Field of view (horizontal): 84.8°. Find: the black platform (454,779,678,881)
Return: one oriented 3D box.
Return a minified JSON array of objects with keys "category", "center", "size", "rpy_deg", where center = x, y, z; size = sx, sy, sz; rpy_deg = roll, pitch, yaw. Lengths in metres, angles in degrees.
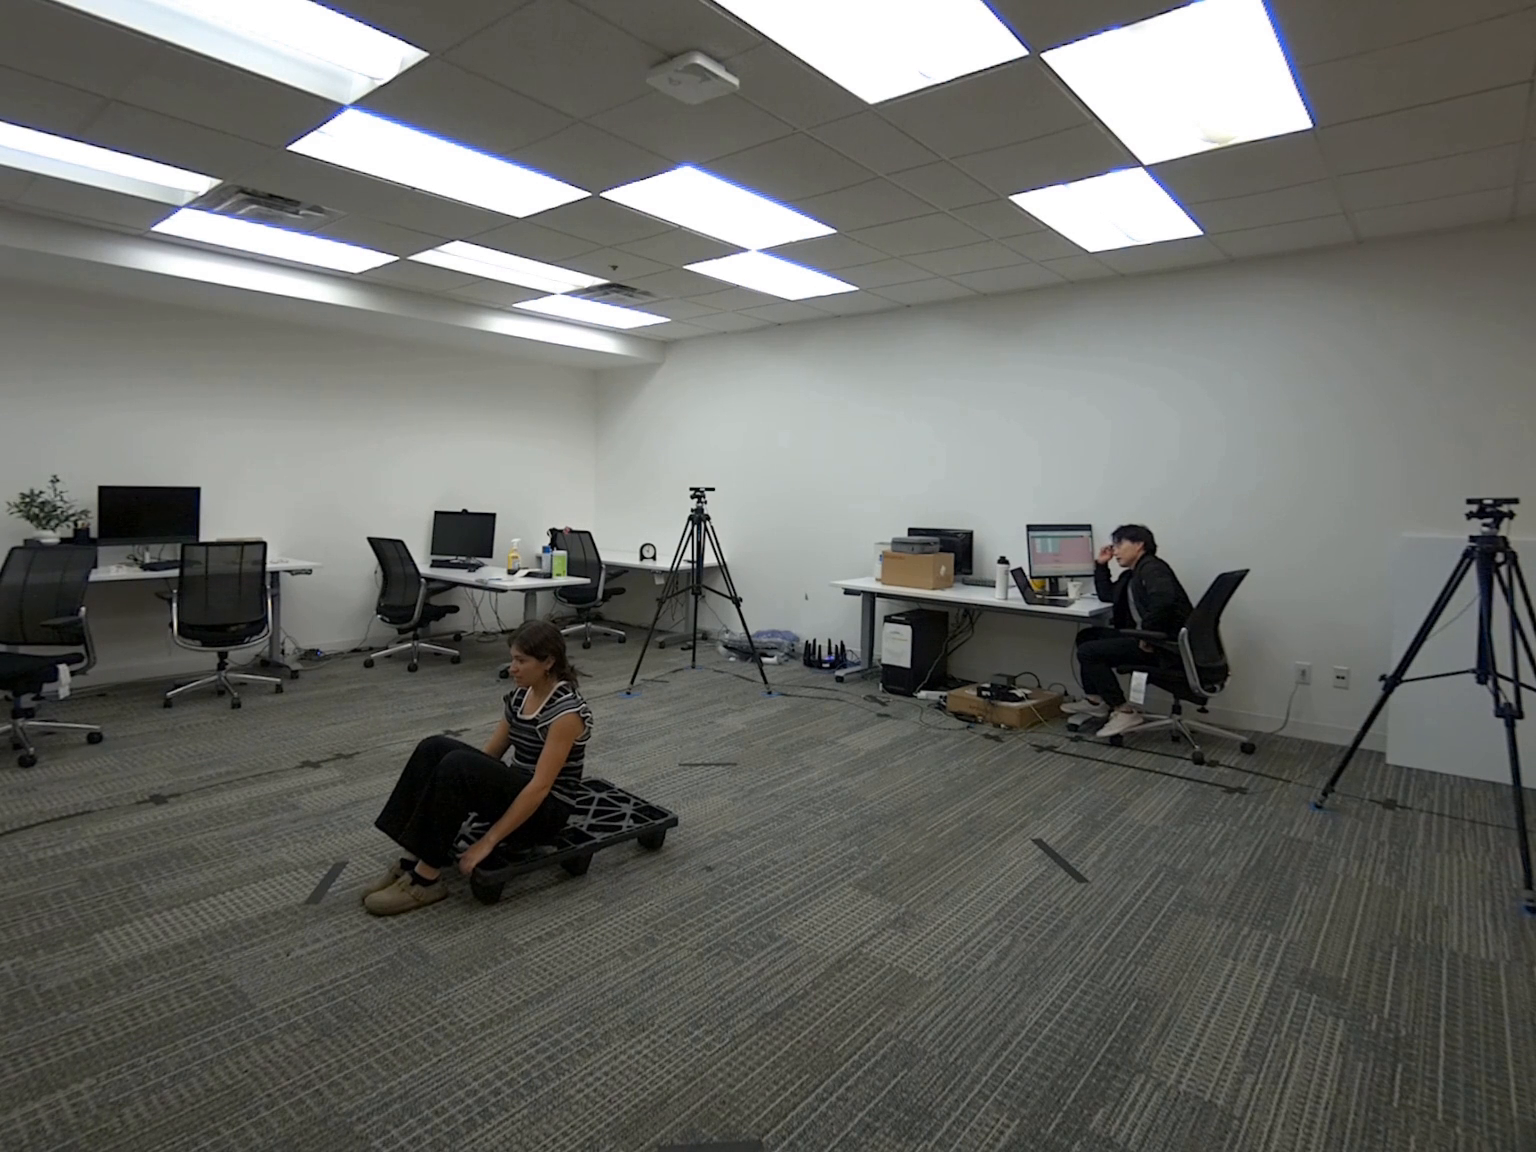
[{"category":"black platform","center":[-0.842,0.977,3.216],"size":[0.782,0.143,0.625],"rpy_deg":[-5,7,-42]}]
